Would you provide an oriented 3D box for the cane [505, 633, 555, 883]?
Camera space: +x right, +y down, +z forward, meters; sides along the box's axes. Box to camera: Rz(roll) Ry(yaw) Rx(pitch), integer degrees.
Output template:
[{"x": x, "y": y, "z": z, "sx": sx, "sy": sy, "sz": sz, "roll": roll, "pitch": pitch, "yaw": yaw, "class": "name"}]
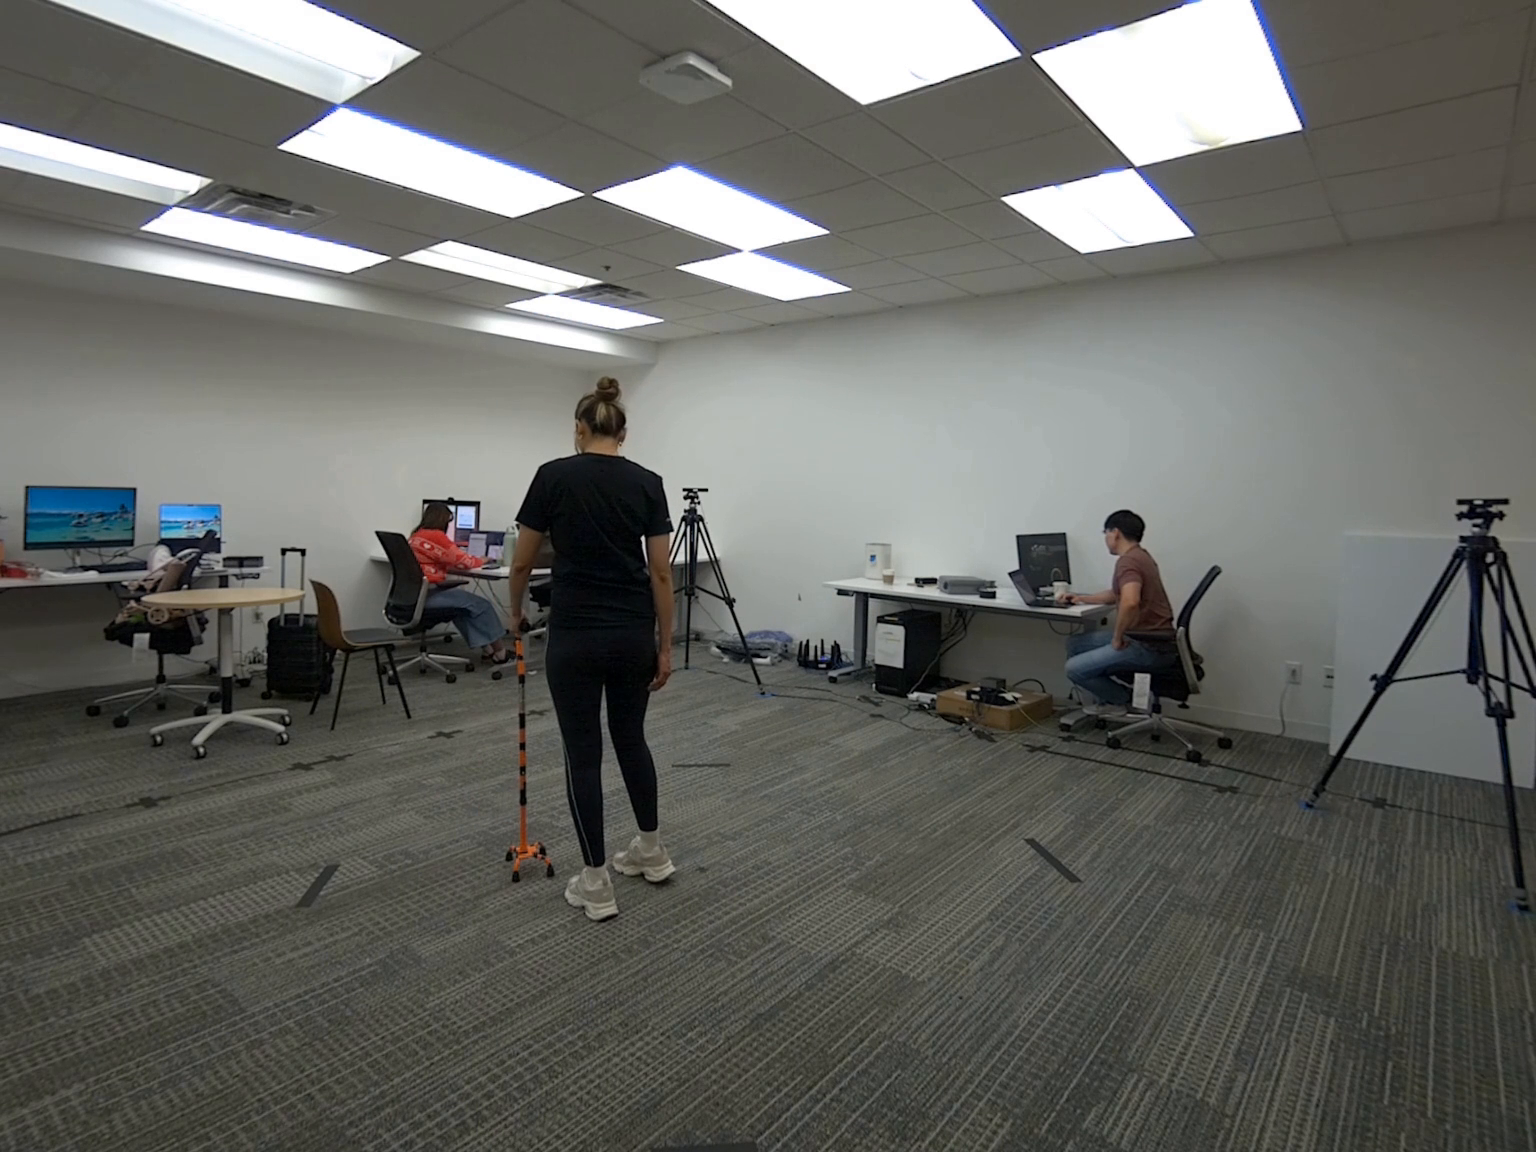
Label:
[{"x": -0.883, "y": 0.608, "z": 3.066, "sx": 0.148, "sy": 0.904, "sz": 0.211, "roll": -2, "pitch": 4, "yaw": -22, "class": "cane"}]
